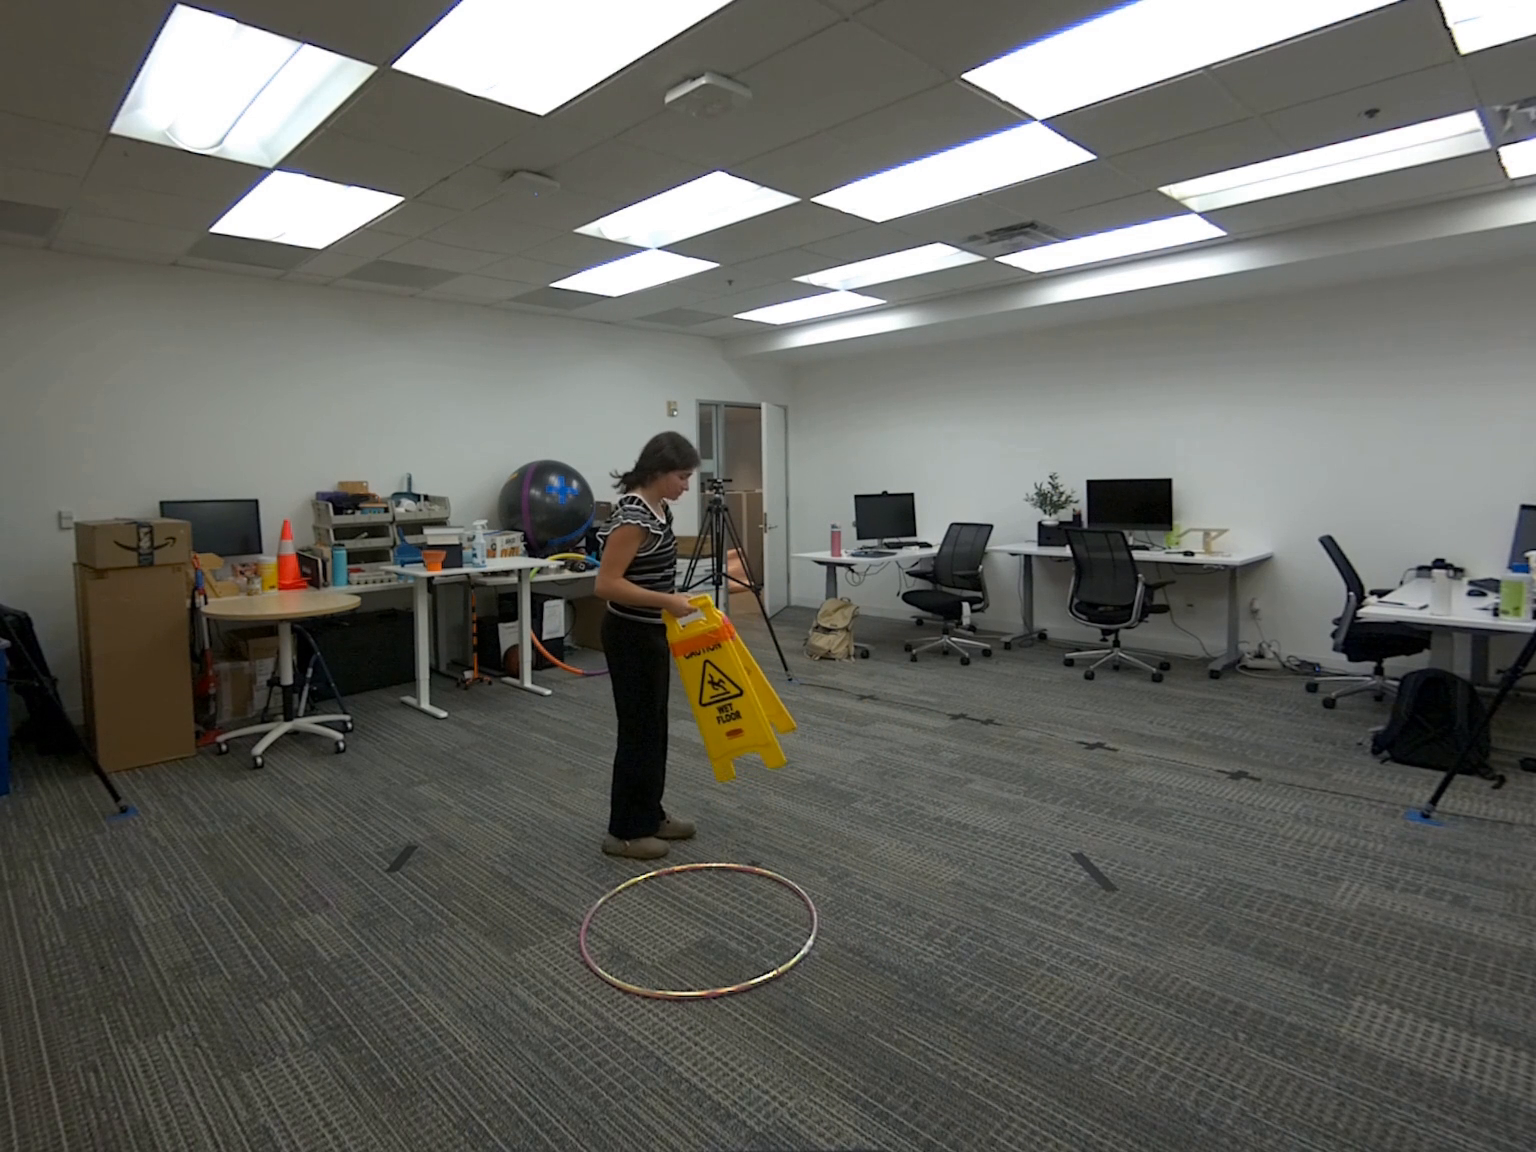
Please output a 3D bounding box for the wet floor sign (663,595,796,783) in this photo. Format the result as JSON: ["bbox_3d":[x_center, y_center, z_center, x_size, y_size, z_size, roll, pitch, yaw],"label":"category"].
[{"bbox_3d":[-0.174,0.380,3.080,0.285,0.637,0.291,-18,13,17],"label":"wet floor sign"}]
